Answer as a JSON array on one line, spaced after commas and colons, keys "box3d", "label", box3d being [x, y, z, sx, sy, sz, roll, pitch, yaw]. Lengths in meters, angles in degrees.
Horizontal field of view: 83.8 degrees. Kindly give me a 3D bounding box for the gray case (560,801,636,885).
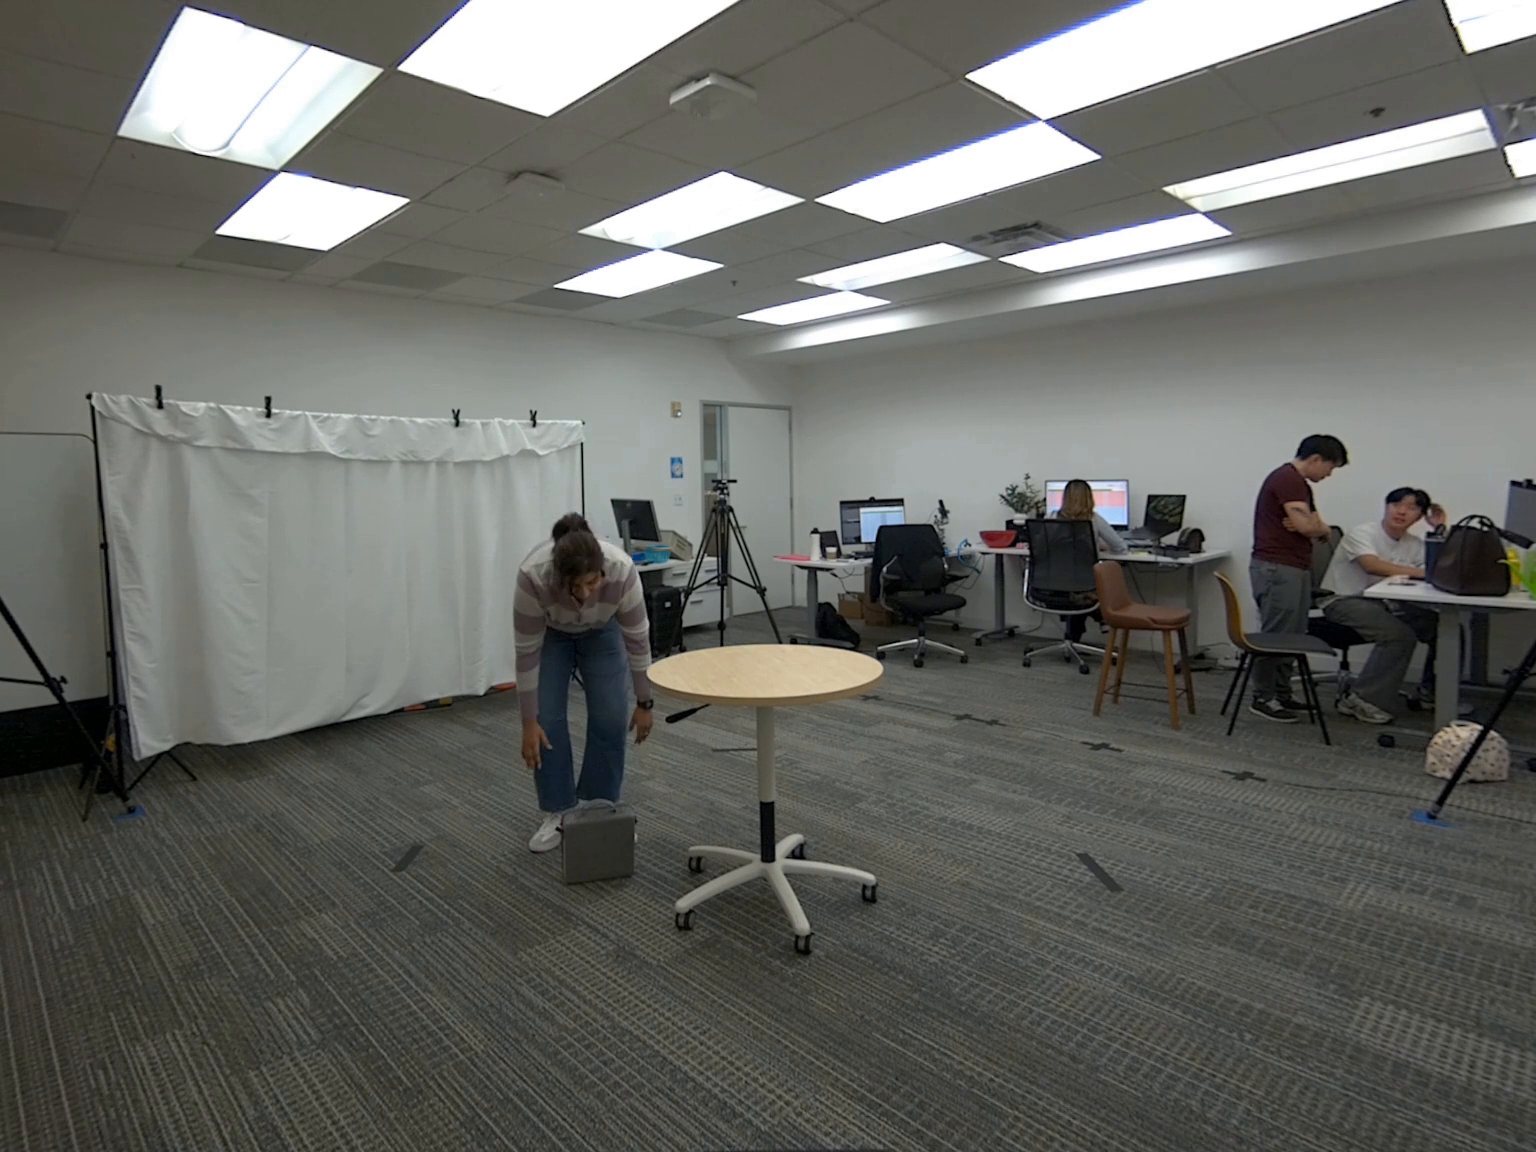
[{"box3d": [-0.593, 0.935, 3.013, 0.253, 0.258, 0.107, -2, 14, -16], "label": "gray case"}]
